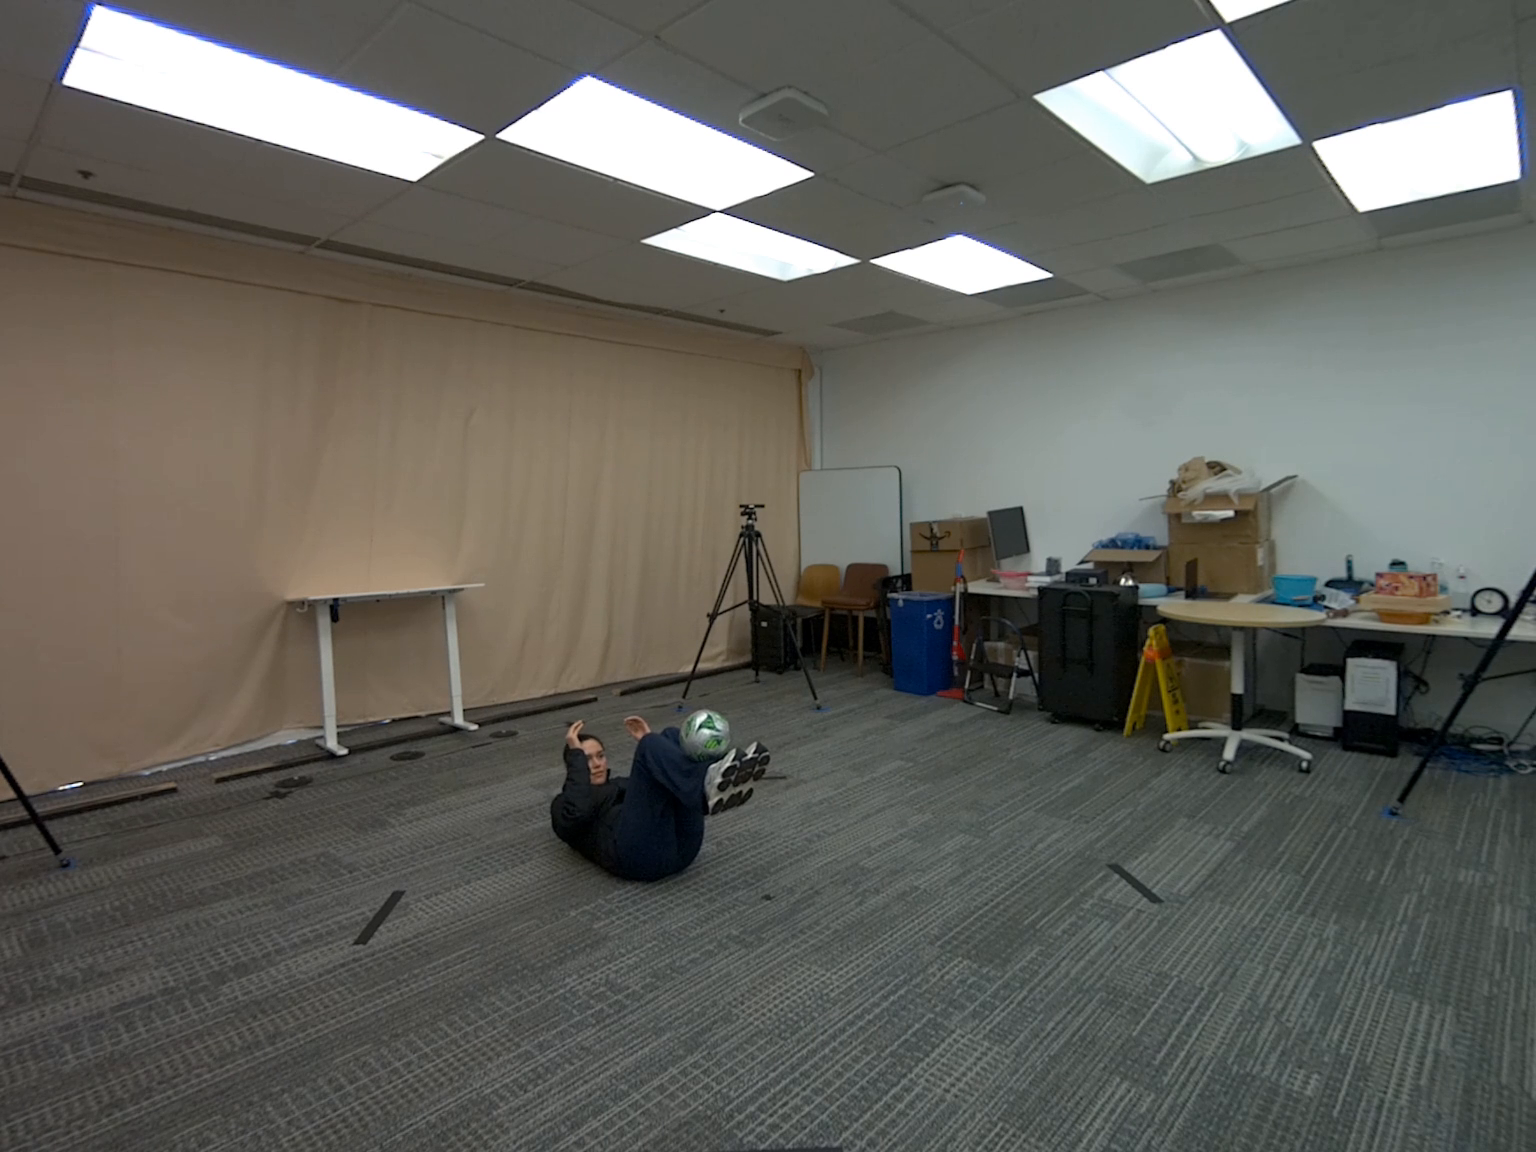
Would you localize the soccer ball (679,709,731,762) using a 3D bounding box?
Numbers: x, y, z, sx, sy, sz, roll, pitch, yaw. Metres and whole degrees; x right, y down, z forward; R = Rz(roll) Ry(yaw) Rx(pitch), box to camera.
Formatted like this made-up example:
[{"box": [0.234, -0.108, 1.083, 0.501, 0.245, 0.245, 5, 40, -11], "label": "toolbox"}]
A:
[{"box": [-0.216, 0.567, 2.957, 0.187, 0.187, 0.188, 2, 5, -2], "label": "soccer ball"}]
